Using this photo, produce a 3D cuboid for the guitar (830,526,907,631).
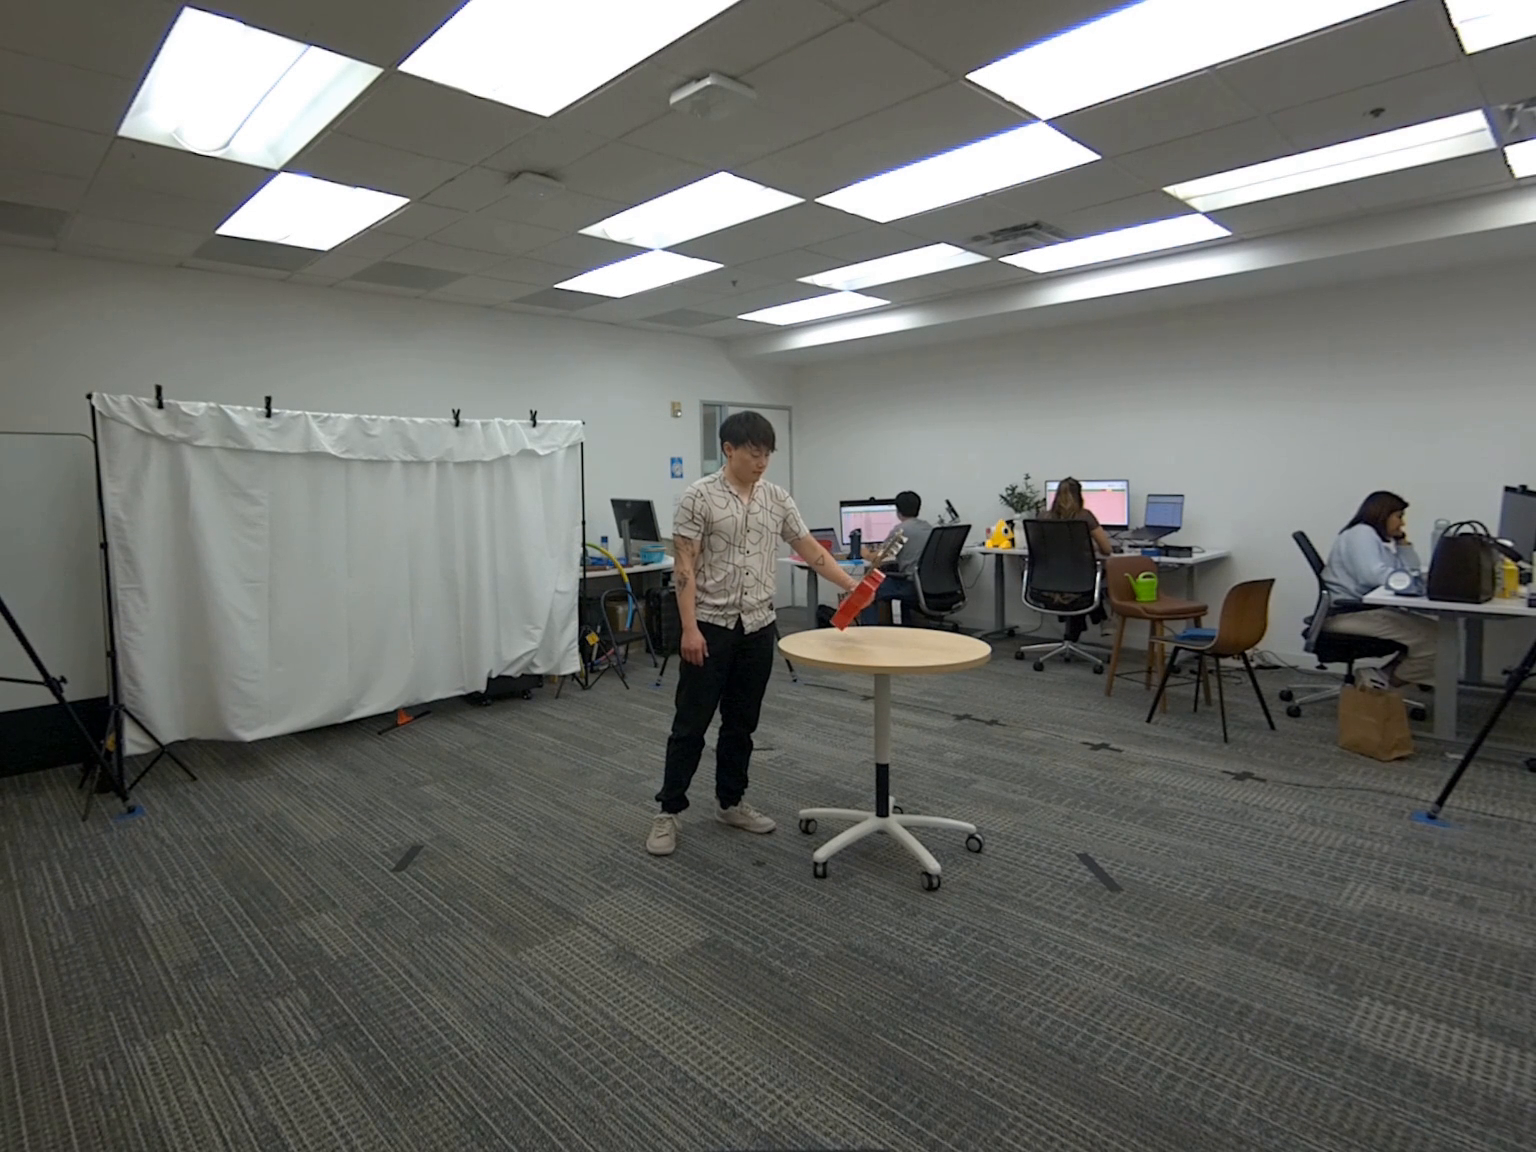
[{"bbox_3d":[0.361,0.030,3.051,0.071,0.193,0.493,35,-36,3],"label":"guitar"}]
